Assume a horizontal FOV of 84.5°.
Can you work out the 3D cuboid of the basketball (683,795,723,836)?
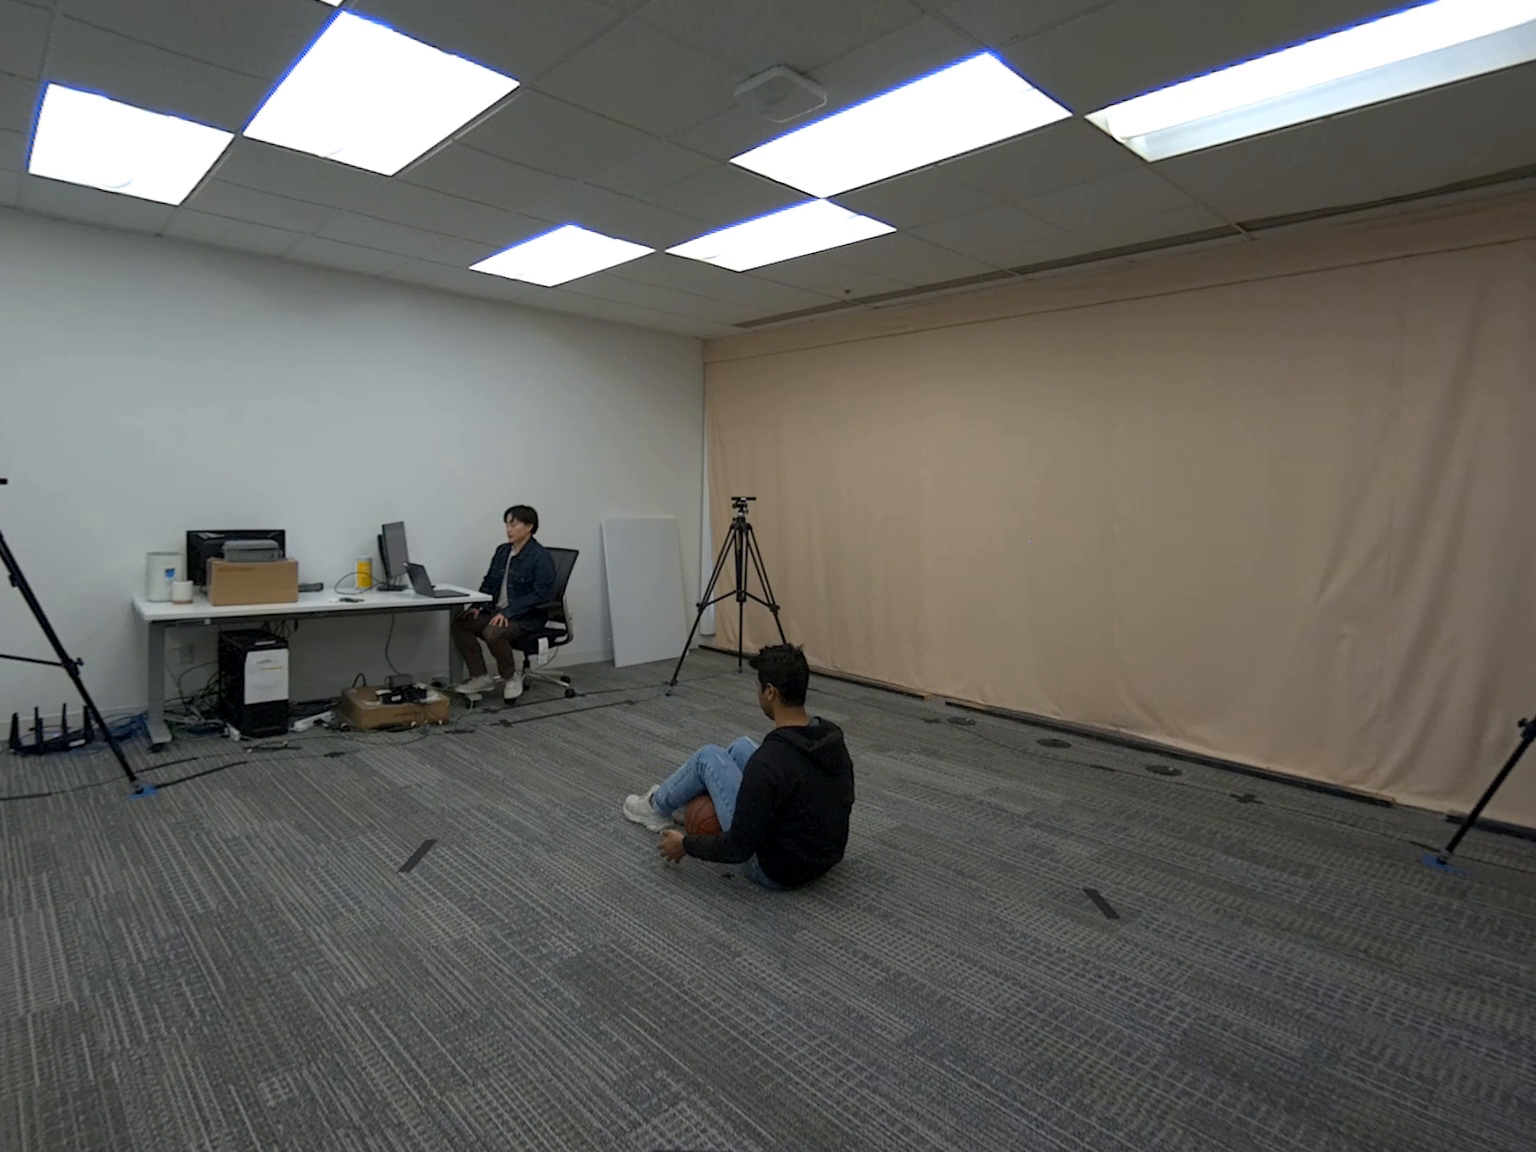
[{"bbox_3d":[-0.219,0.955,3.336,0.236,0.235,0.237,1,4,-1],"label":"basketball"}]
